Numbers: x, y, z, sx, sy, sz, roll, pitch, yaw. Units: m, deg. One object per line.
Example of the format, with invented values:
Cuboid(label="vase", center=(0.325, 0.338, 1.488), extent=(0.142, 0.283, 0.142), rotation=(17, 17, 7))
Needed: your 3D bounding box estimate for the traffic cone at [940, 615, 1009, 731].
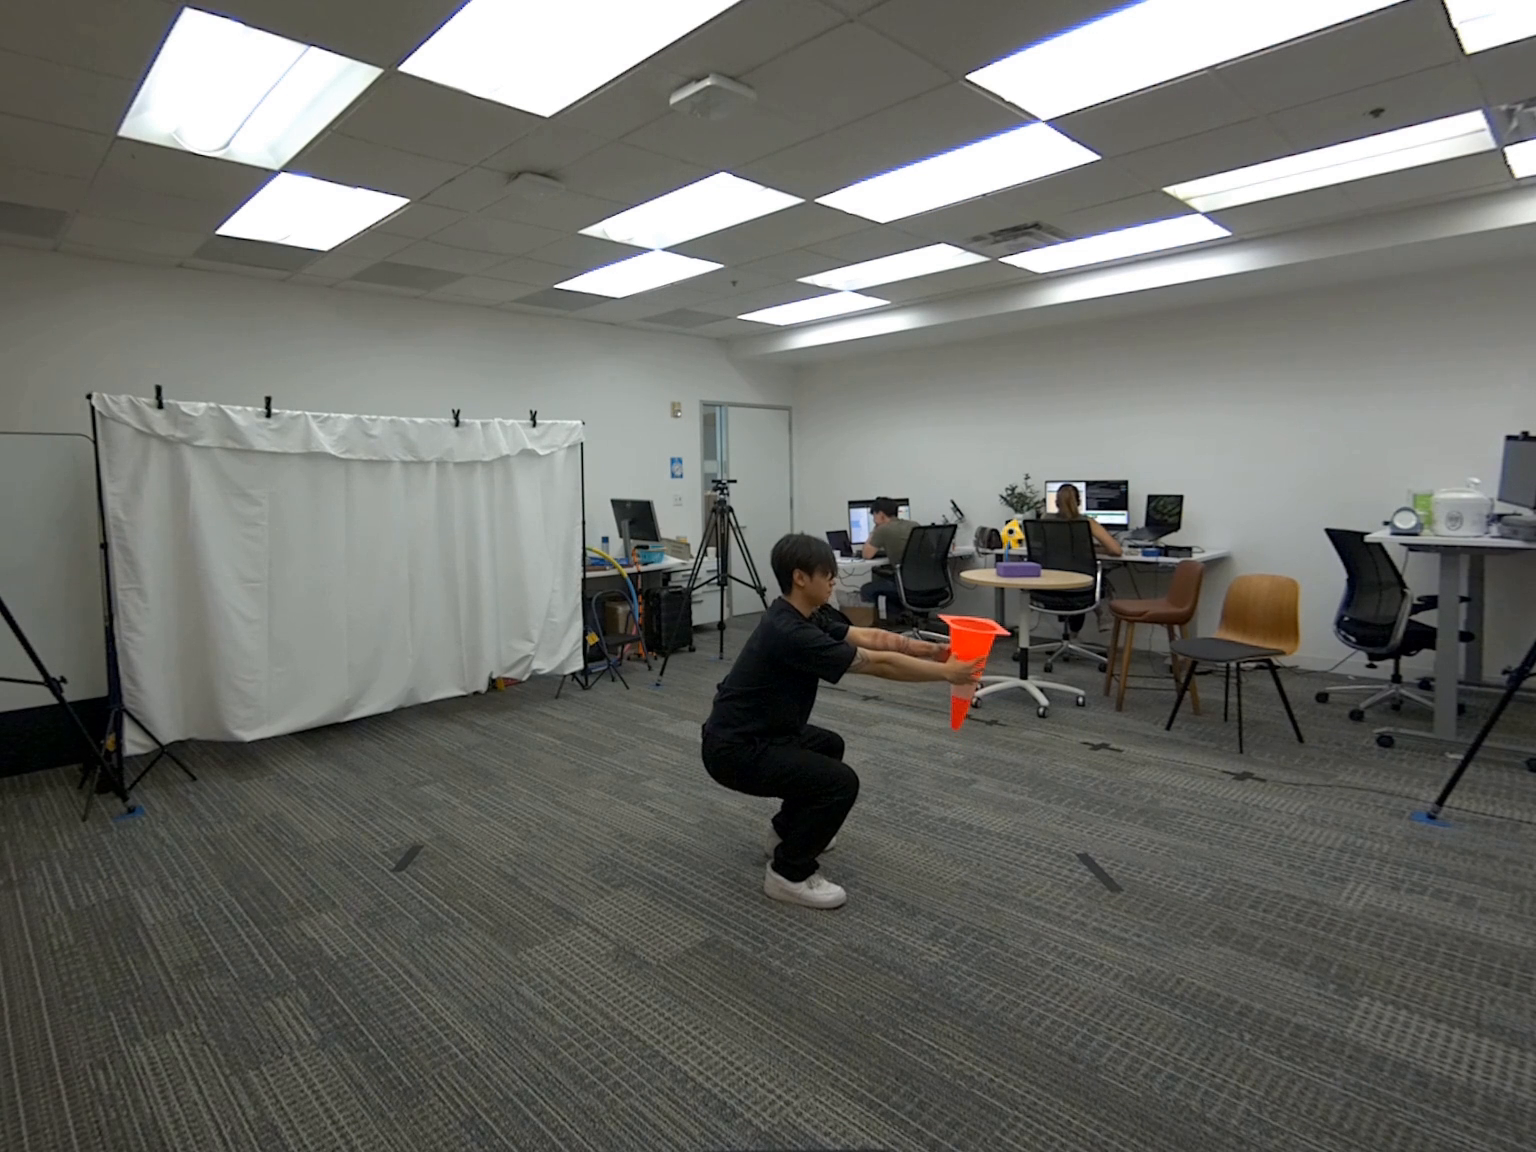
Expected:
Cuboid(label="traffic cone", center=(0.681, 0.351, 2.947), extent=(0.202, 0.381, 0.208), rotation=(6, 8, -8))
